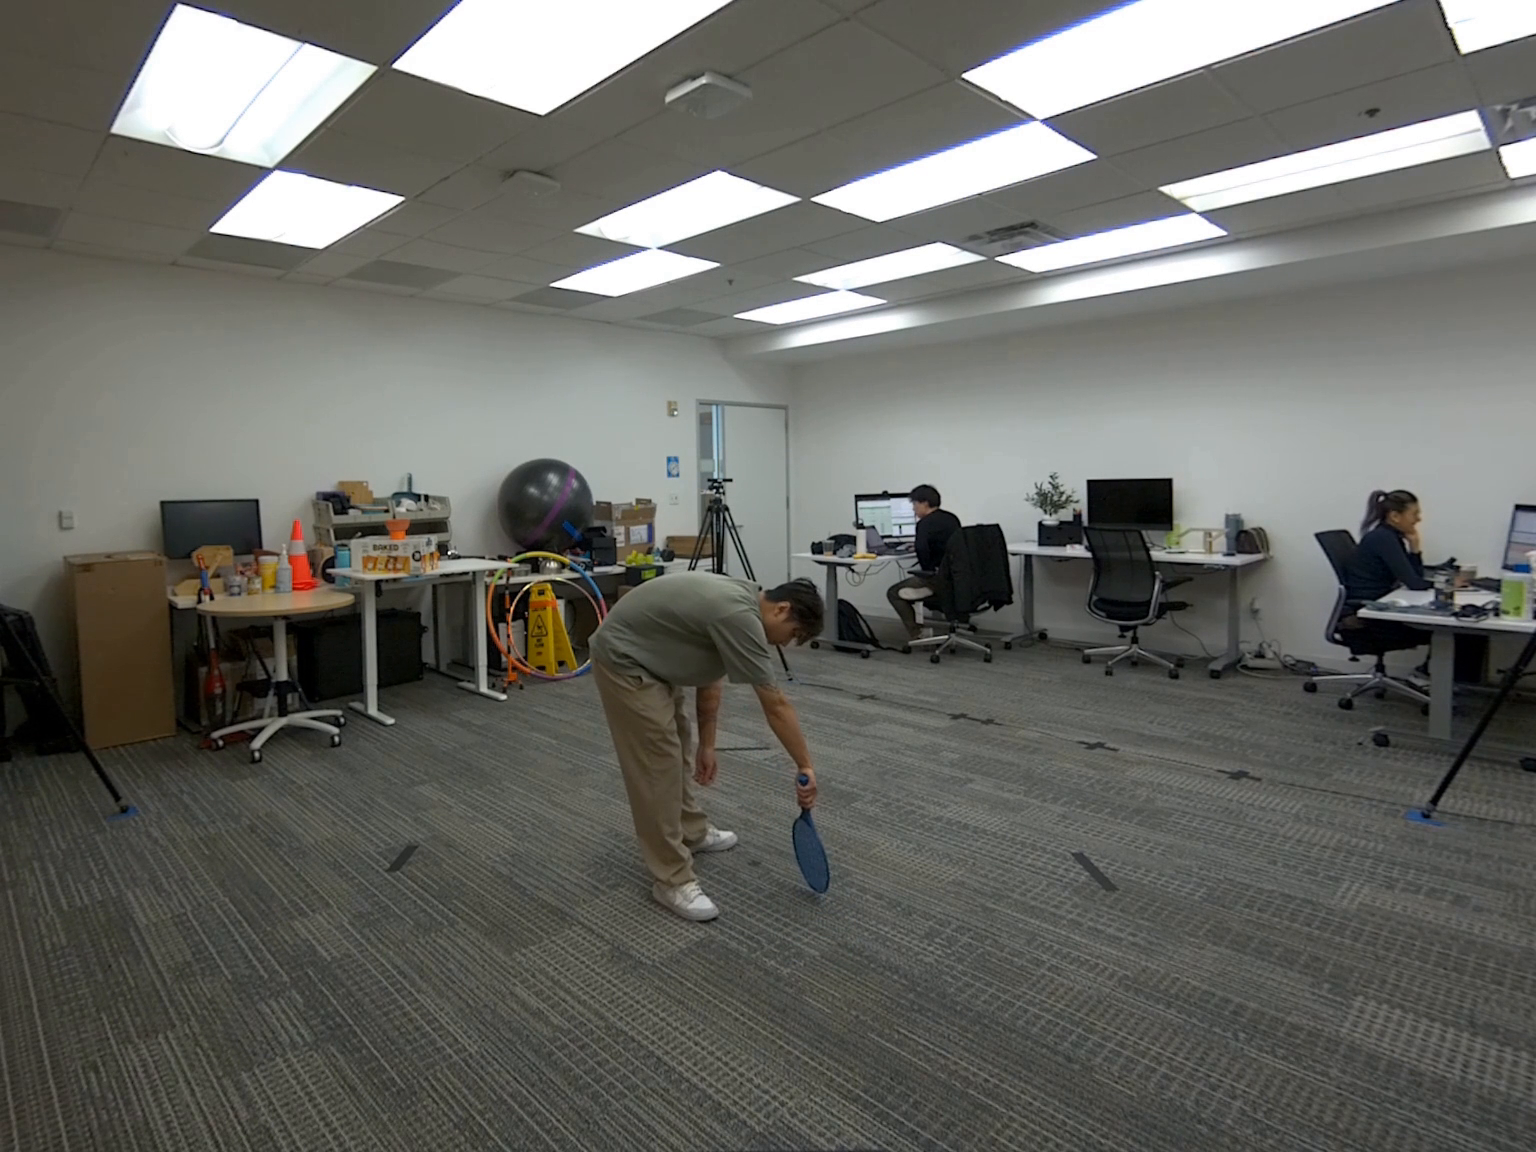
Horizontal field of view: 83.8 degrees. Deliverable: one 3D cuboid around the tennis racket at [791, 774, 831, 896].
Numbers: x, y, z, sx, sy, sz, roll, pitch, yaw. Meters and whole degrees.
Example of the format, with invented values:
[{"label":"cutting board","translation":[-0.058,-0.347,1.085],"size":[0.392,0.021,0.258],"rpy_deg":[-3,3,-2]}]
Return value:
[{"label":"tennis racket","translation":[0.126,0.848,2.811],"size":[0.031,0.424,0.221],"rpy_deg":[-16,22,-23]}]
